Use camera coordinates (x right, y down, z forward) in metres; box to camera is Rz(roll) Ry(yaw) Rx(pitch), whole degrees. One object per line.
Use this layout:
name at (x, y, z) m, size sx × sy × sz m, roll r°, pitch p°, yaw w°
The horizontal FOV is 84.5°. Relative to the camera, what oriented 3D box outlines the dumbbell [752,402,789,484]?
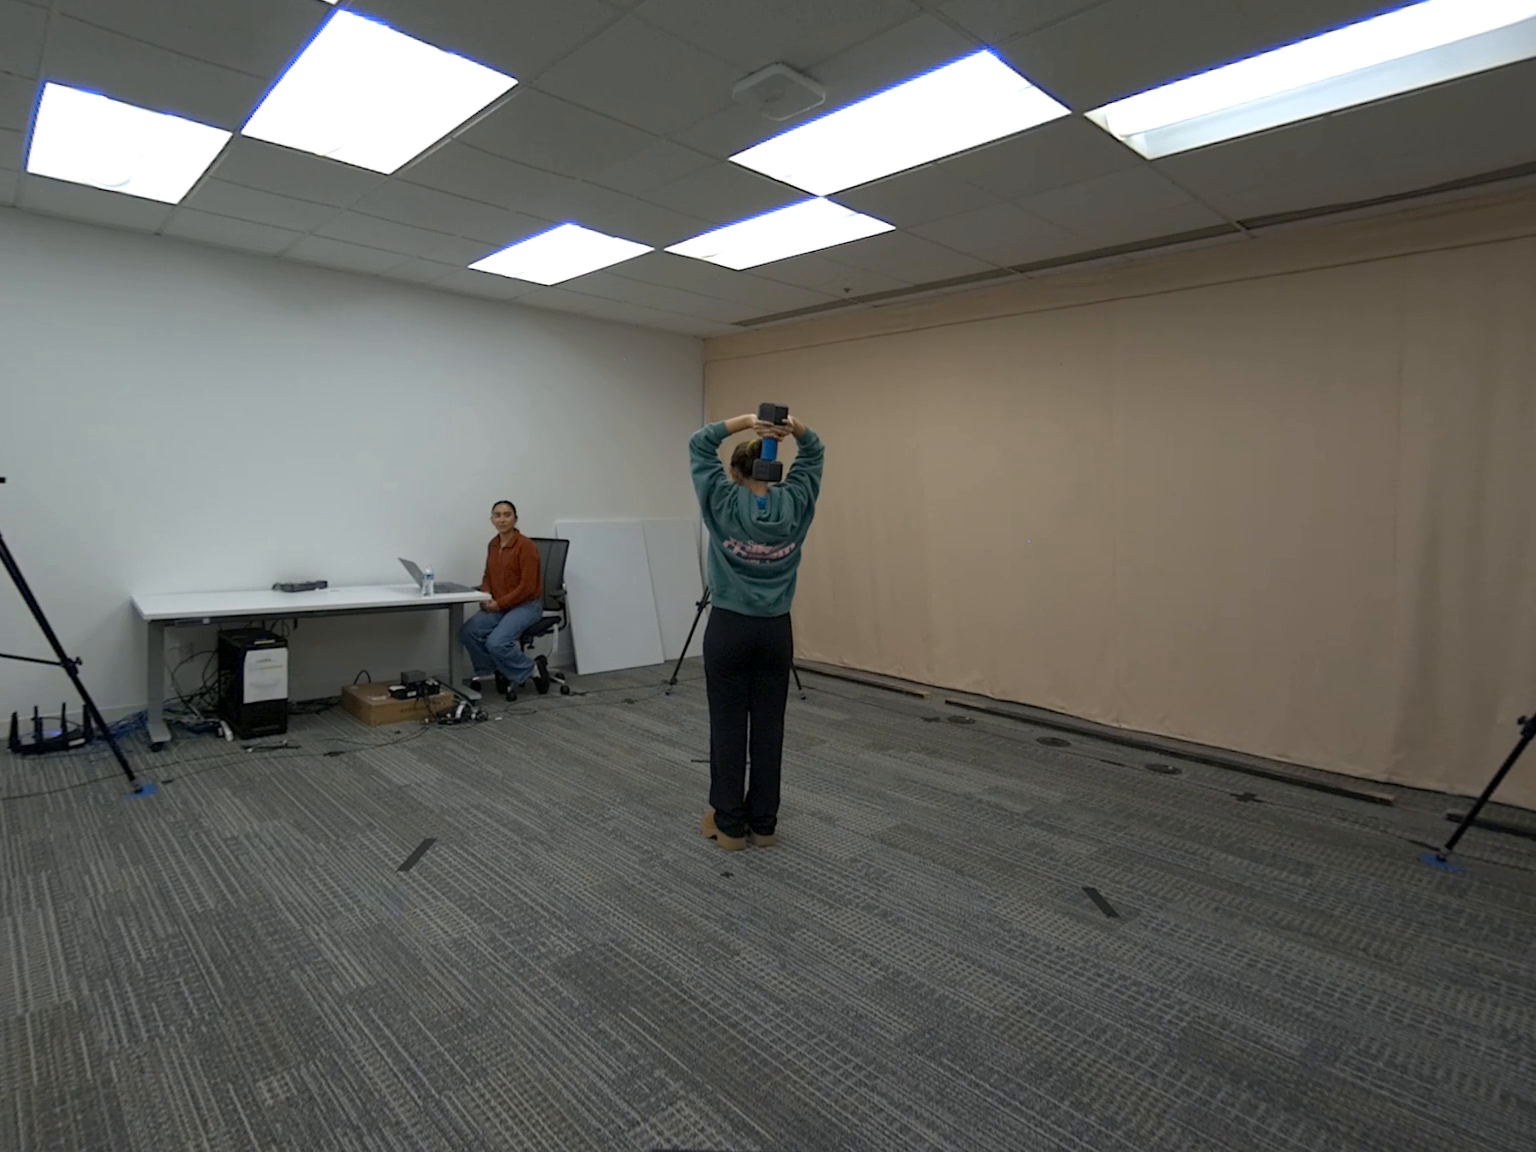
dumbbell at (-0.006, -0.503, 3.173) m, size 0.108 × 0.292 × 0.124 m, roll 4°, pitch 7°, yaw -4°
